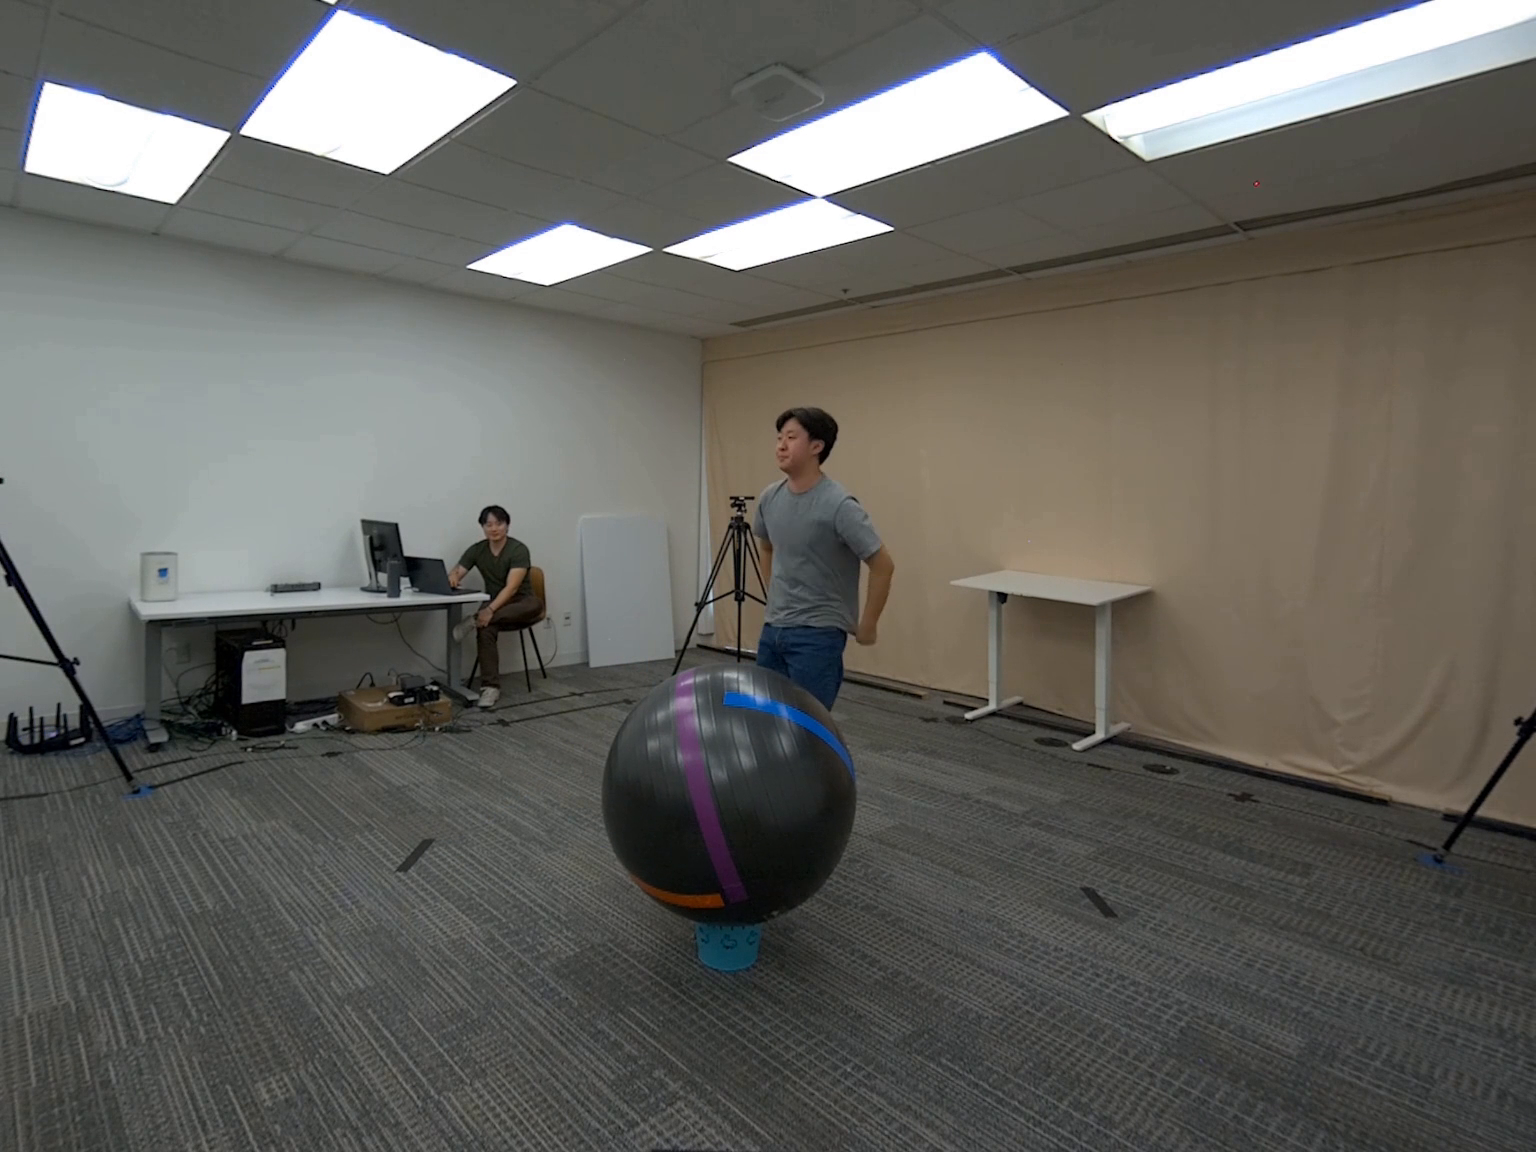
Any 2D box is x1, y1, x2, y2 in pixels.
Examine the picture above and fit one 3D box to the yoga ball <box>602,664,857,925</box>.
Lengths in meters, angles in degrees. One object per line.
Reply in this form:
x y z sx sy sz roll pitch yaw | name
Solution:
-0.118 0.648 2.534 0.757 0.756 0.761 1 4 -1 | yoga ball
